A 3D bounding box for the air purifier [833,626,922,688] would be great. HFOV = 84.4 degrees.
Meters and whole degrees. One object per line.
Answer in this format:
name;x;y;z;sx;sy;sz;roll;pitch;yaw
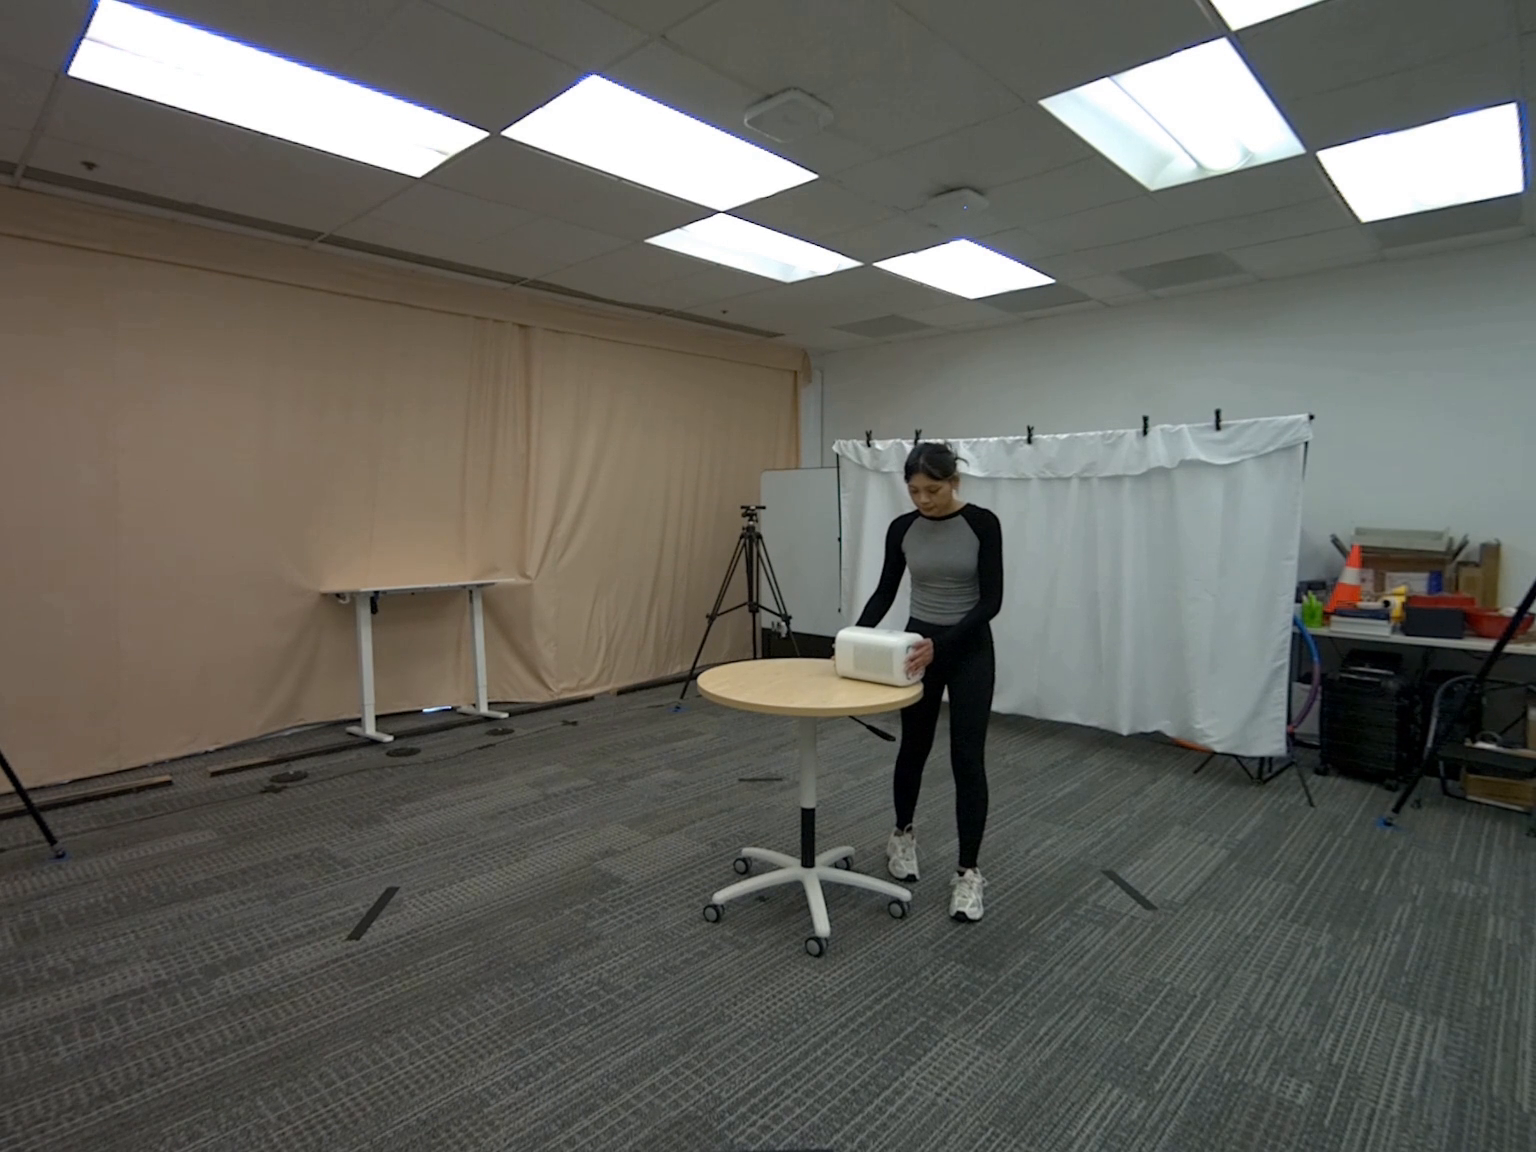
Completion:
air purifier;0.392;0.275;2.878;0.274;0.171;0.166;4;5;41
